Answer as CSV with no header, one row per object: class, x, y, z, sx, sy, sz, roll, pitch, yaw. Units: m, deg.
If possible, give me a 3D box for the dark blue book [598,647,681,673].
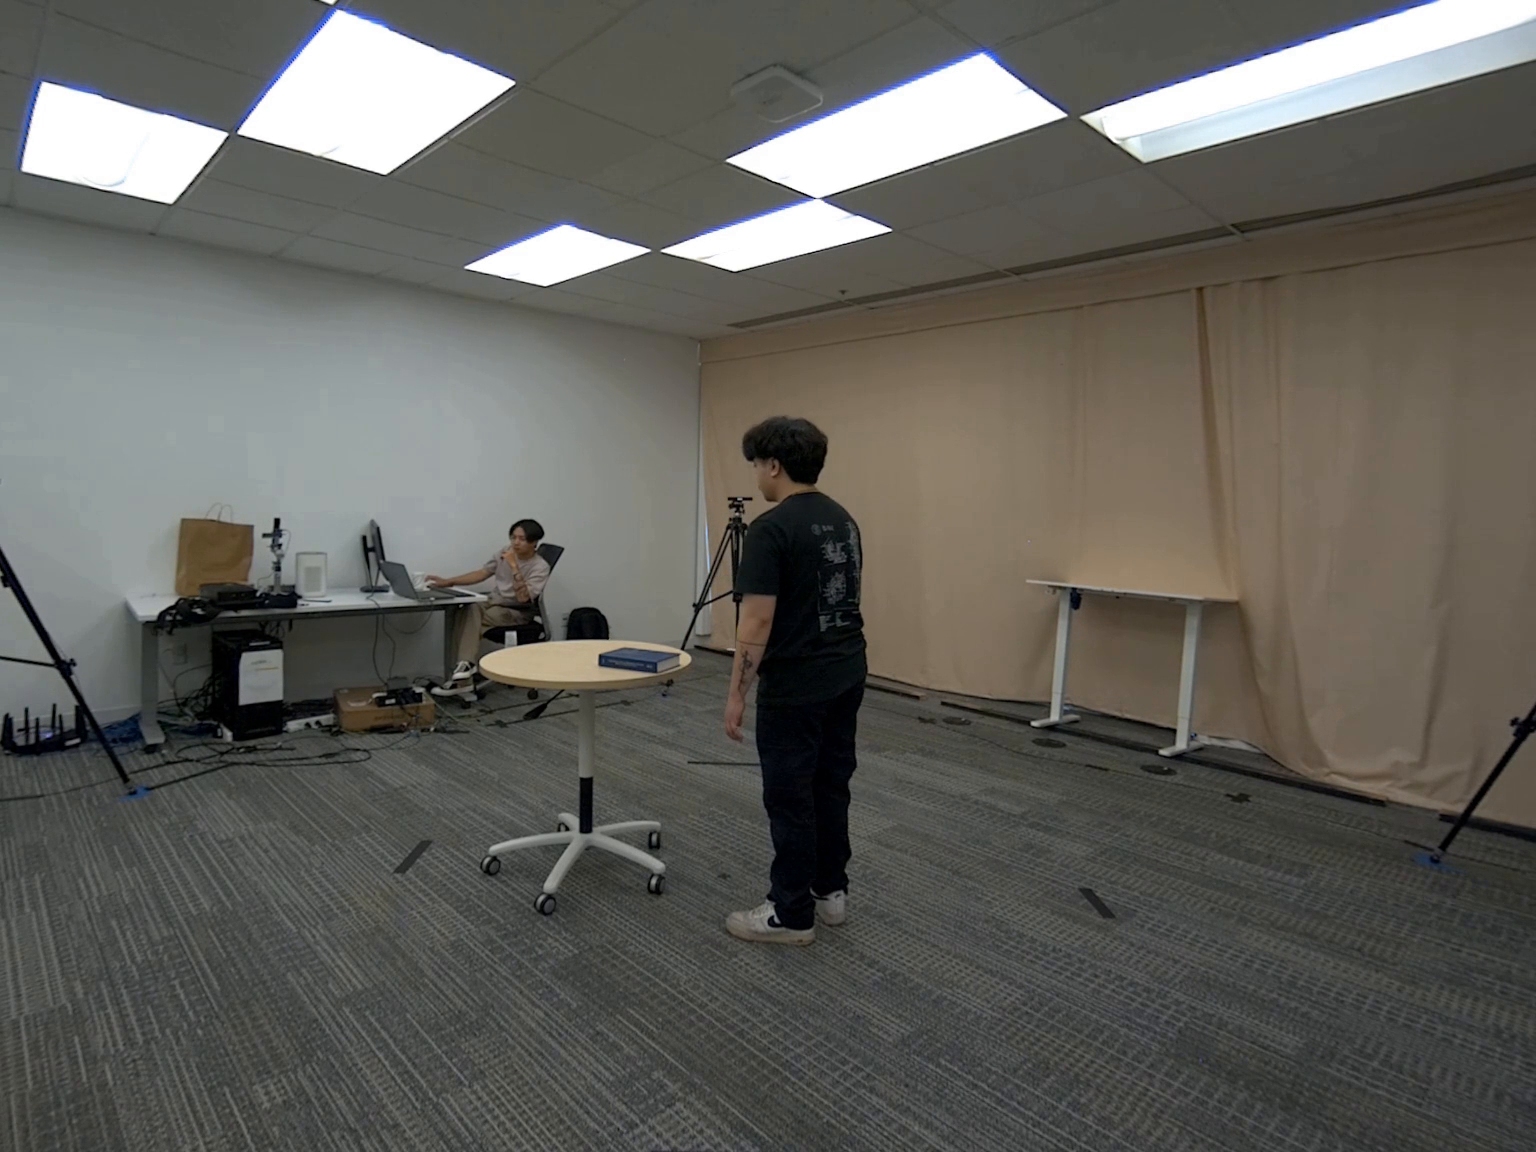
dark blue book,-0.467,0.299,2.976,0.250,0.045,0.160,4,6,27
